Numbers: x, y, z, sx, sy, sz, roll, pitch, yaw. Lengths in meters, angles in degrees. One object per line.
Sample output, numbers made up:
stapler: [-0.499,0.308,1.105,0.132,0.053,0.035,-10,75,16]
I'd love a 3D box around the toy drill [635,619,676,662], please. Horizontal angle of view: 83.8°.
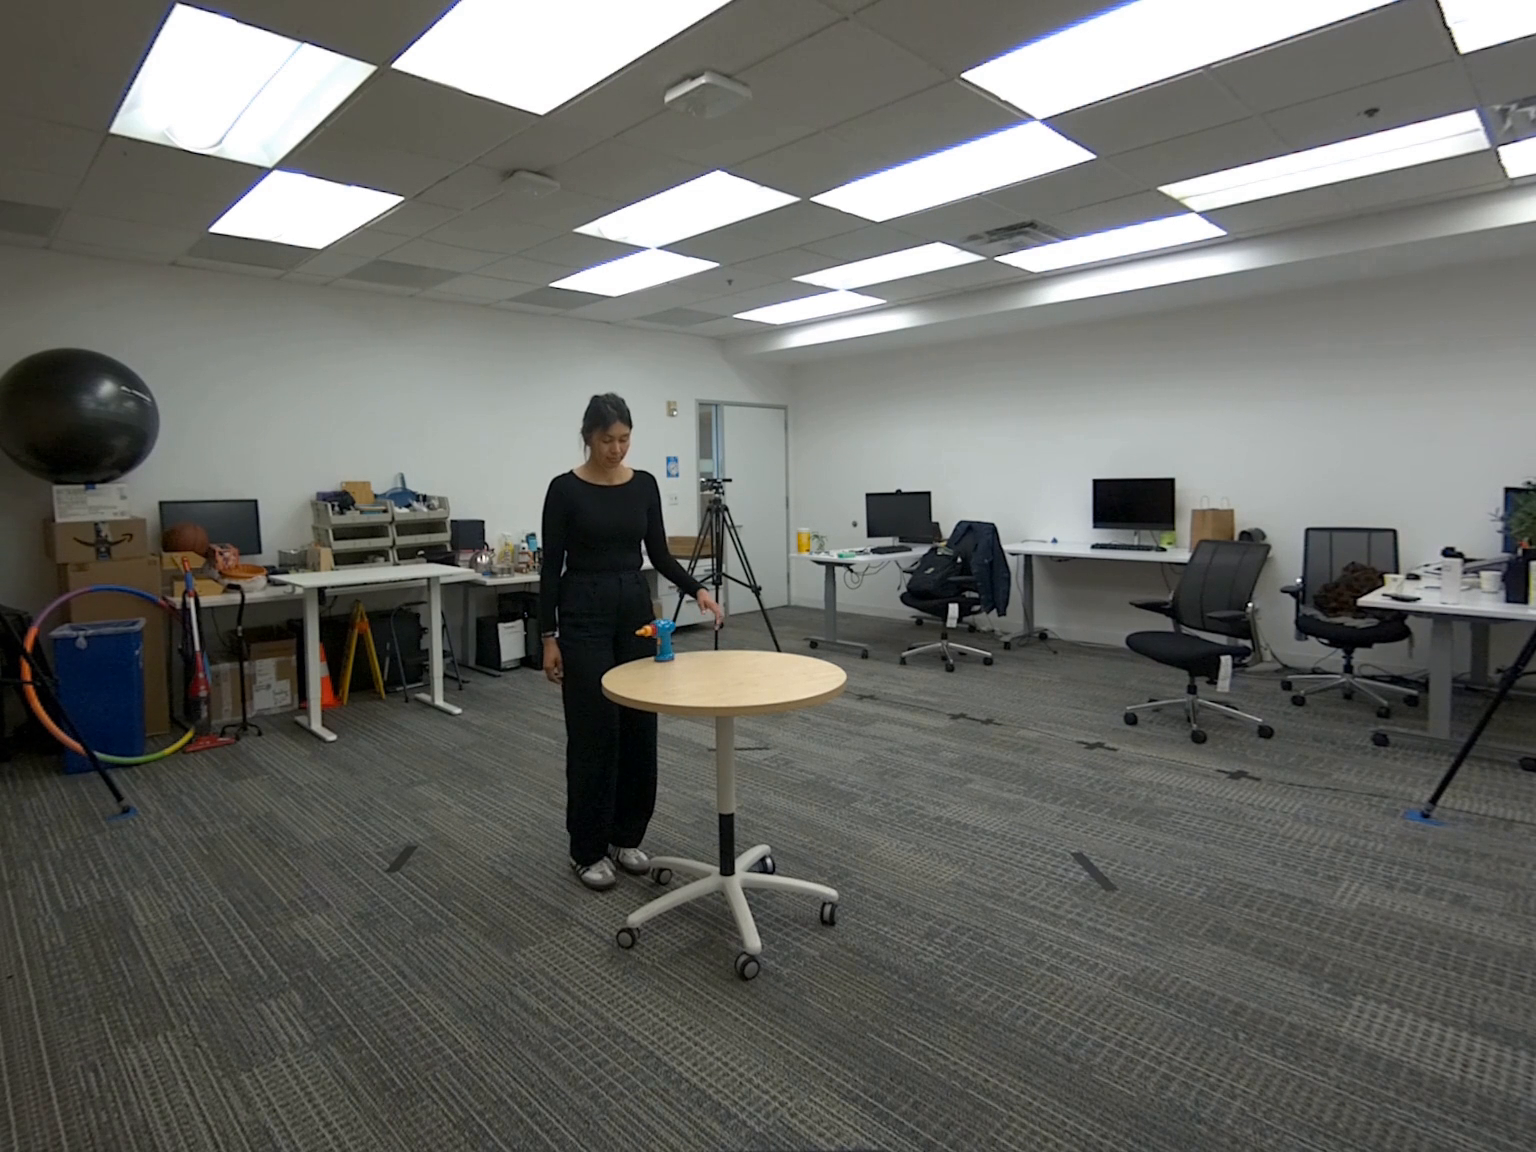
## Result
toy drill: [-0.376,0.218,2.886,0.063,0.145,0.165,4,6,41]
